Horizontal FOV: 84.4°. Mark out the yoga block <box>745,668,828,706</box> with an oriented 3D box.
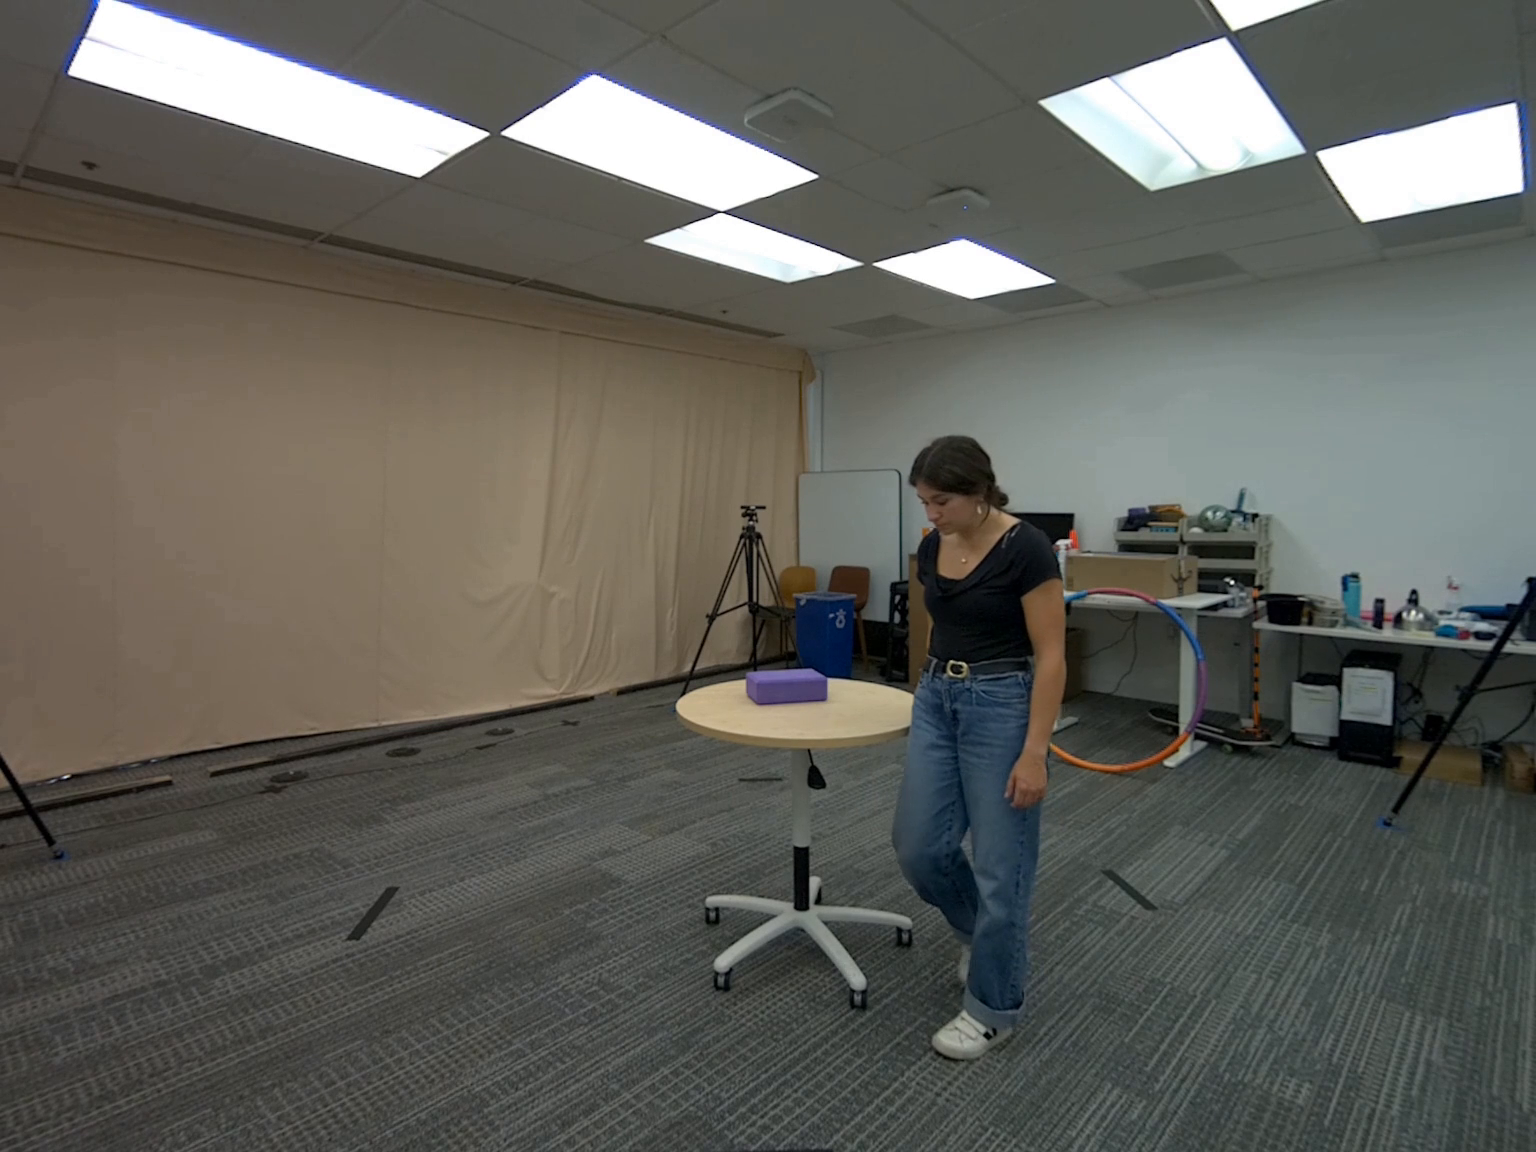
[{"bbox_3d":[0.060,0.352,2.652,0.227,0.076,0.151,-1,5,-11],"label":"yoga block"}]
